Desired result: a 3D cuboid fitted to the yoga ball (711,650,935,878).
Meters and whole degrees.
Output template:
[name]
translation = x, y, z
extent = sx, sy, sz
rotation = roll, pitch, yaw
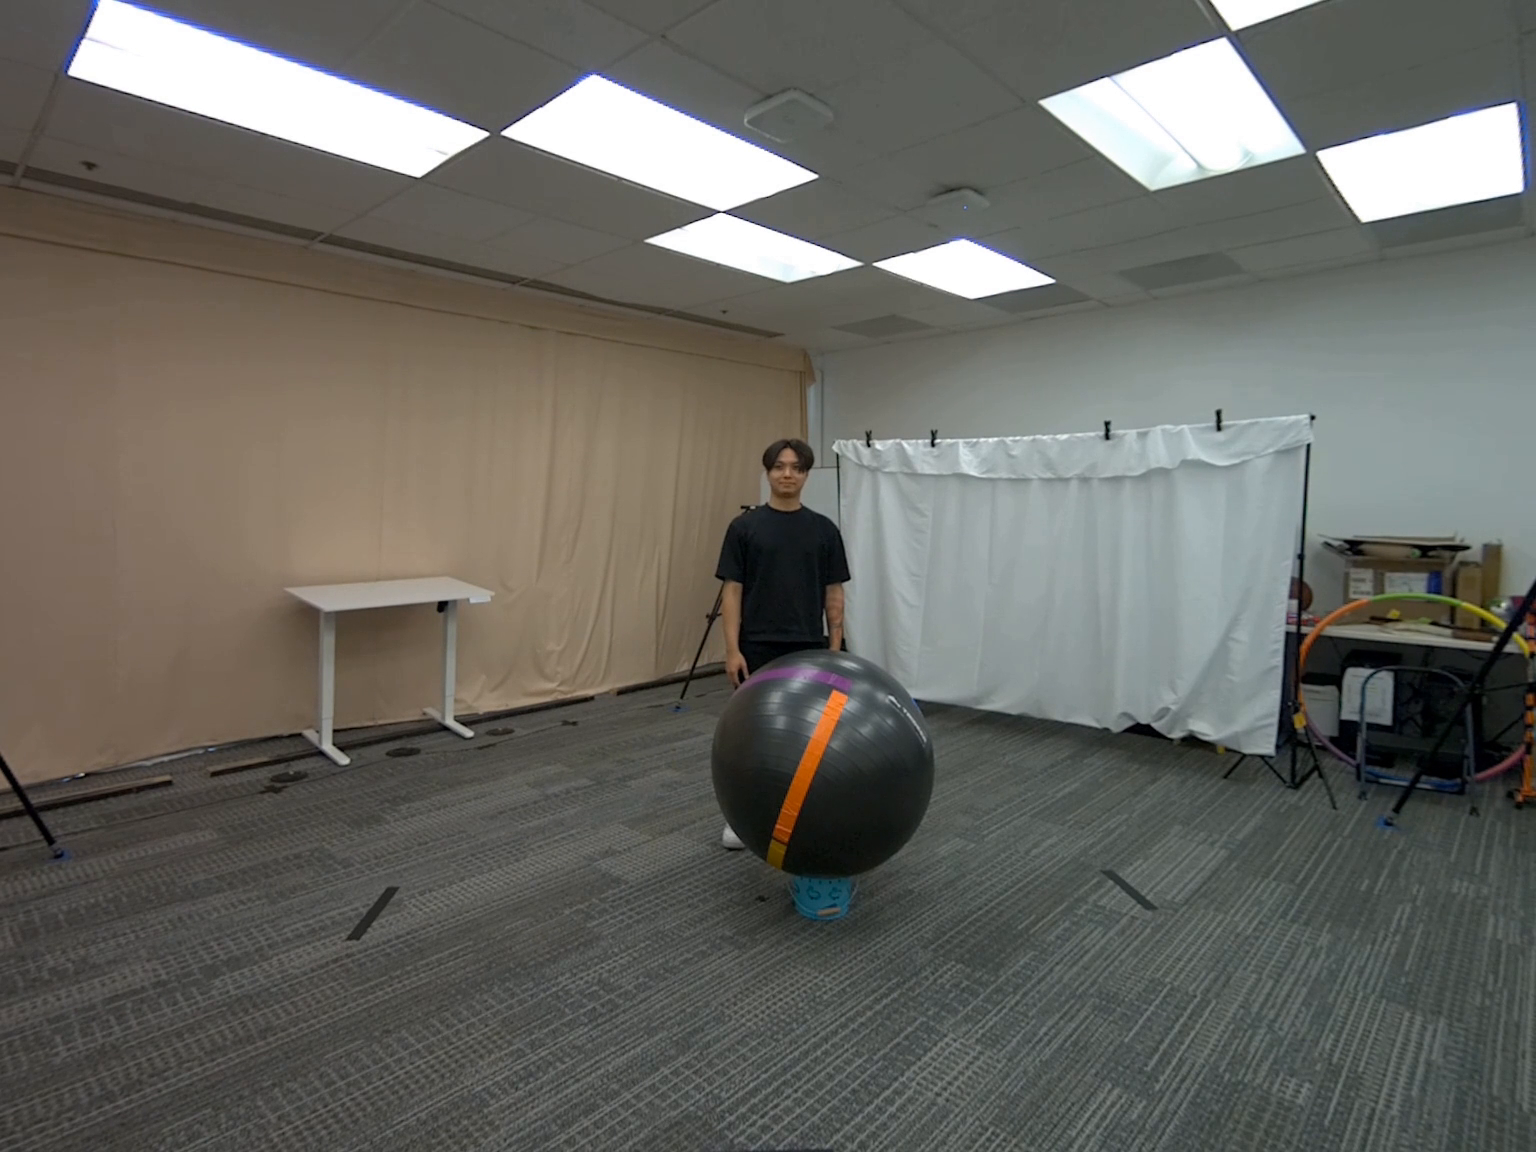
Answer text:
[yoga ball]
translation = 0.187, 0.641, 2.887
extent = 0.757, 0.756, 0.760
rotation = 0, 4, -2
